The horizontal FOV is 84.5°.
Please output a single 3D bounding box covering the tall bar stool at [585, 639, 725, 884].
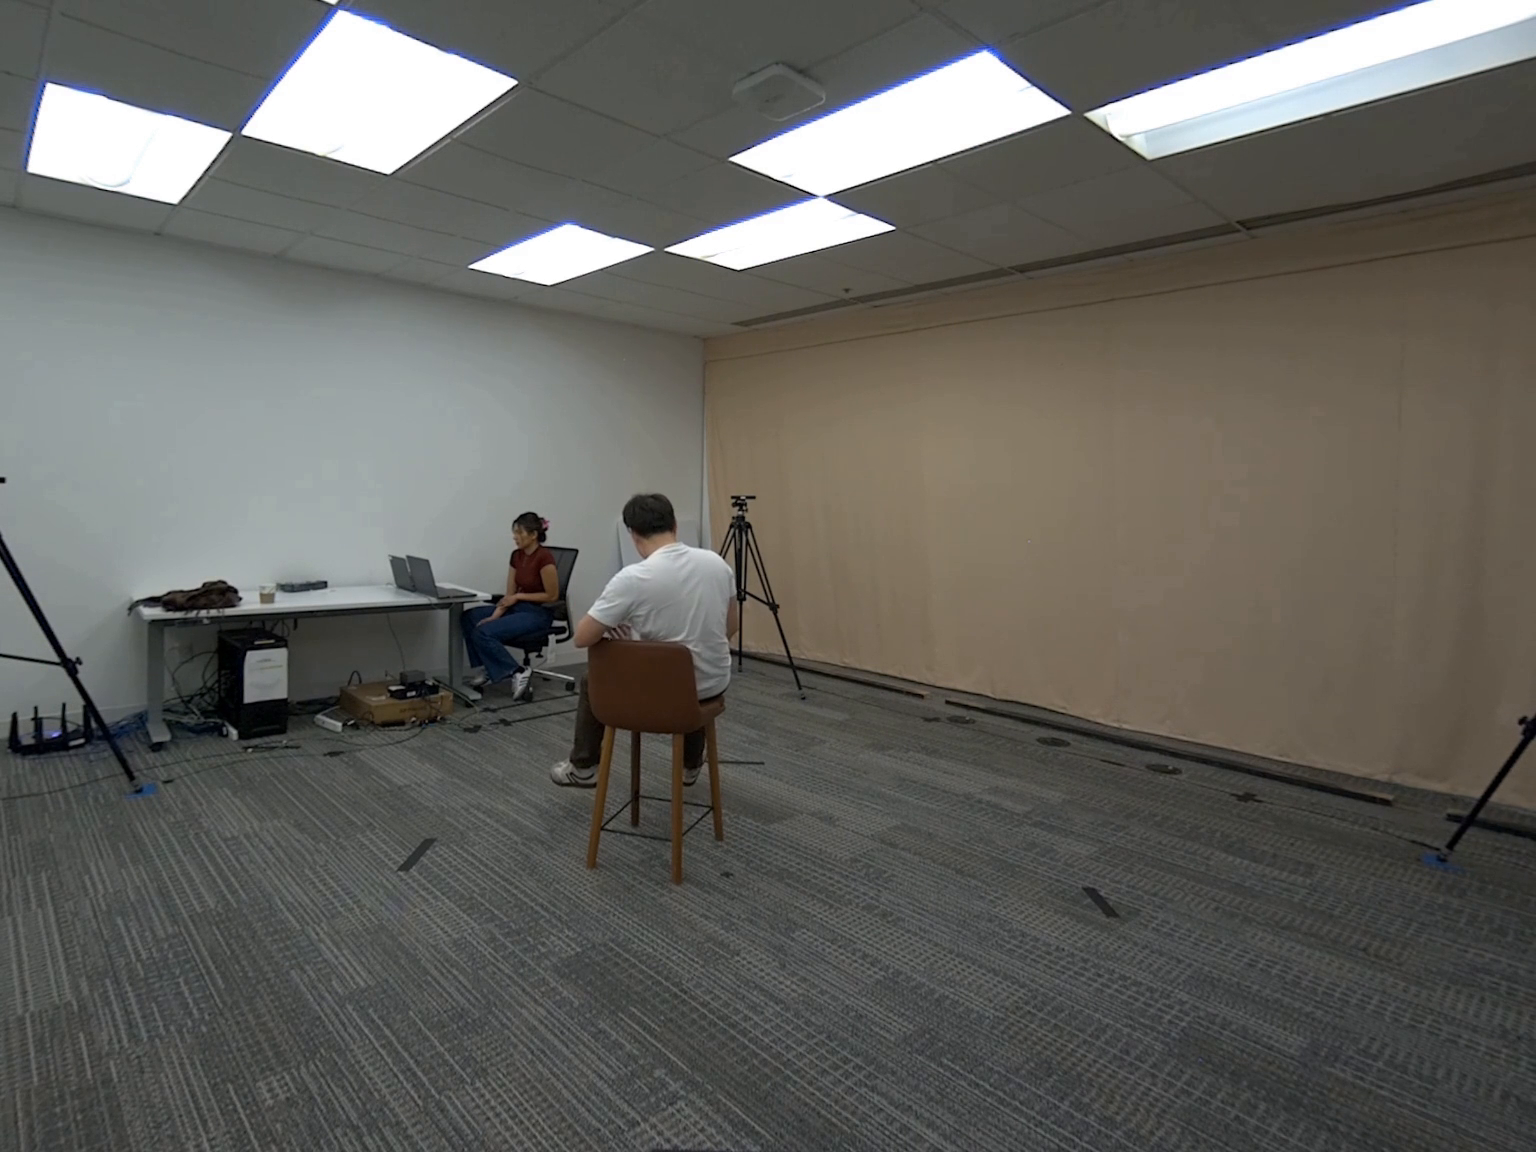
[{"bbox_3d":[-0.439,0.653,3.255,0.463,0.887,0.462,2,5,19],"label":"tall bar stool"}]
